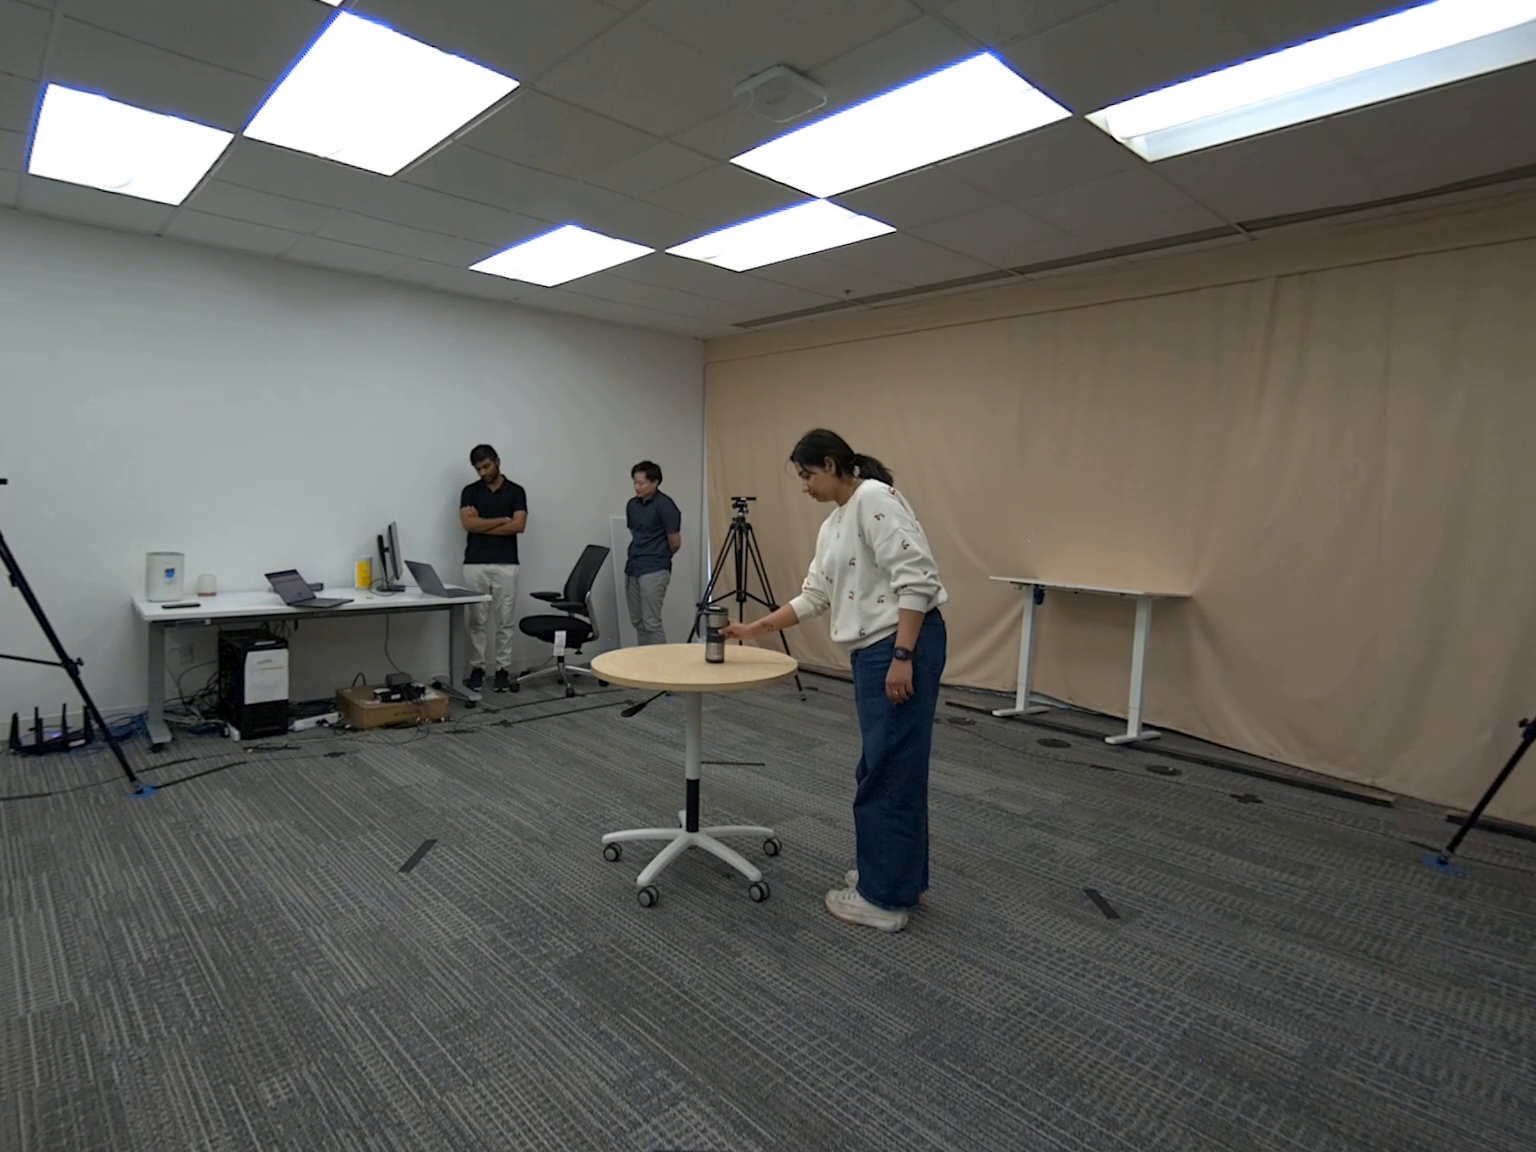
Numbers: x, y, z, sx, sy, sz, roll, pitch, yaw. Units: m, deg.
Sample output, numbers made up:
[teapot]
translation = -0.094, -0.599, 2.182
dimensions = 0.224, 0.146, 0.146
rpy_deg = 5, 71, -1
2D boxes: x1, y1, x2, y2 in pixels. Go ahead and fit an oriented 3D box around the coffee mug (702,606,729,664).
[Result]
[coffee mug]
translation = -0.179, 0.218, 3.123
dimensions = 0.120, 0.203, 0.089
rpy_deg = -1, 1, -21
